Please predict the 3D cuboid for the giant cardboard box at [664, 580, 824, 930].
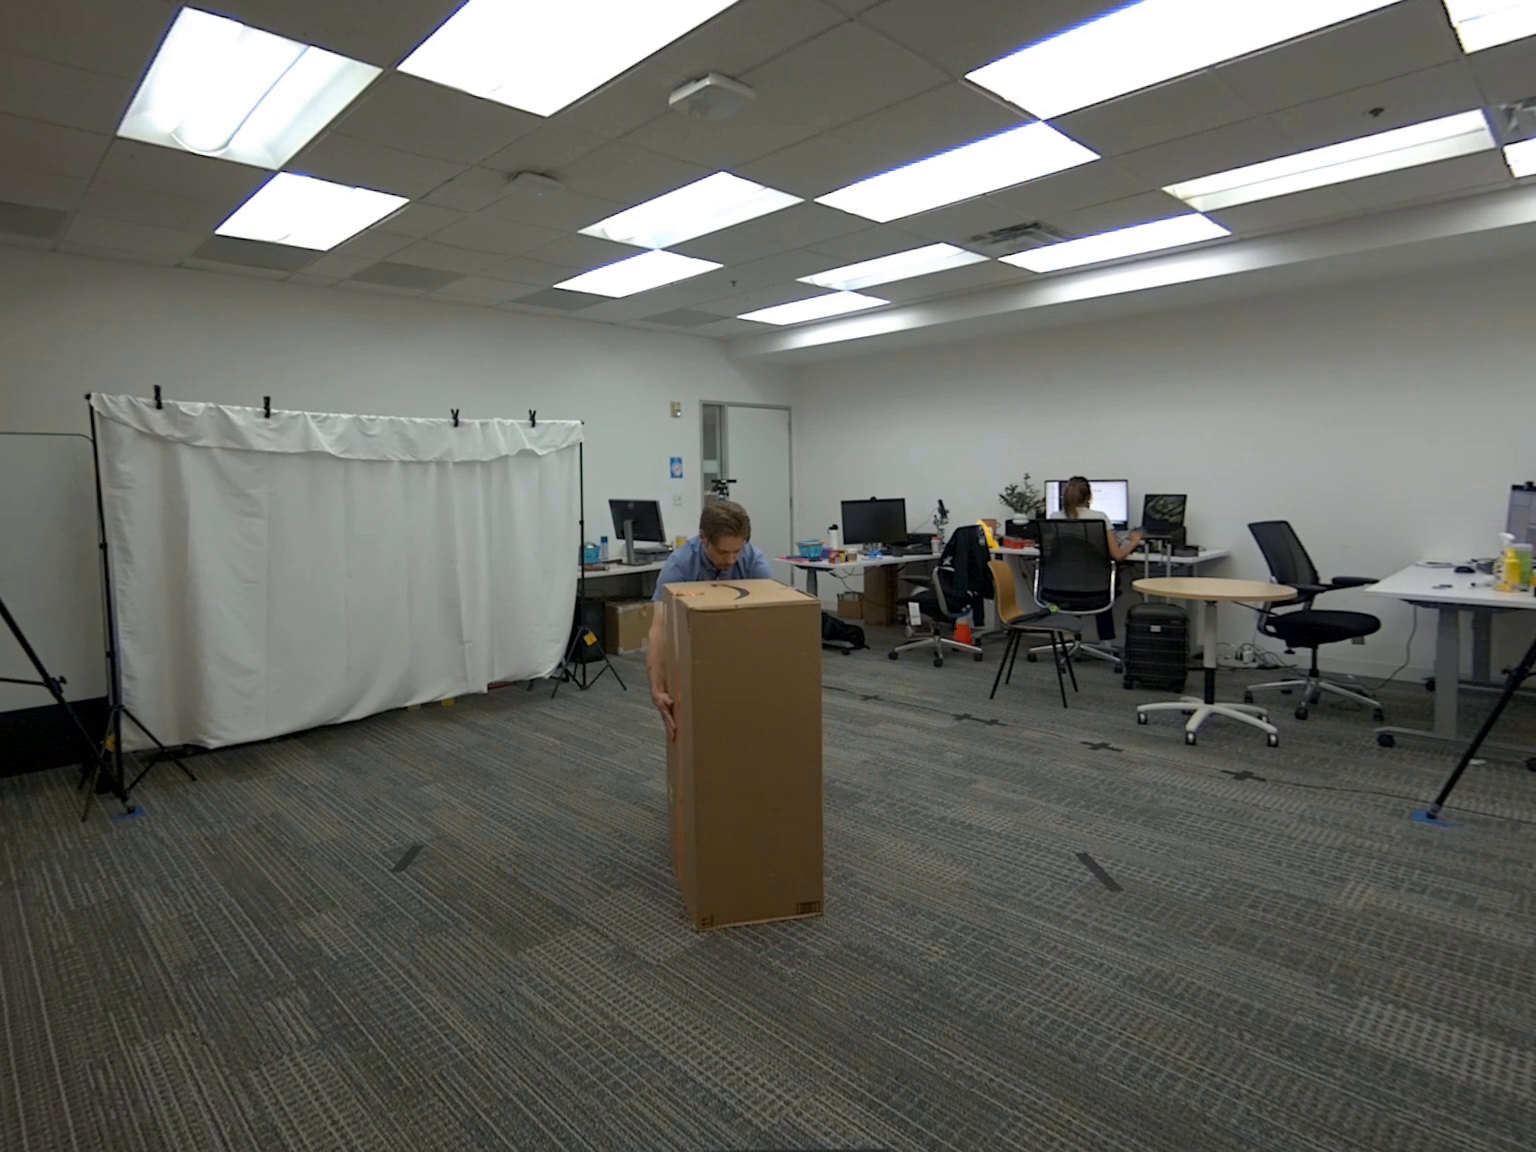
[{"bbox_3d":[-0.104,0.561,2.927,0.421,1.022,0.587,-2,4,-14],"label":"giant cardboard box"}]
